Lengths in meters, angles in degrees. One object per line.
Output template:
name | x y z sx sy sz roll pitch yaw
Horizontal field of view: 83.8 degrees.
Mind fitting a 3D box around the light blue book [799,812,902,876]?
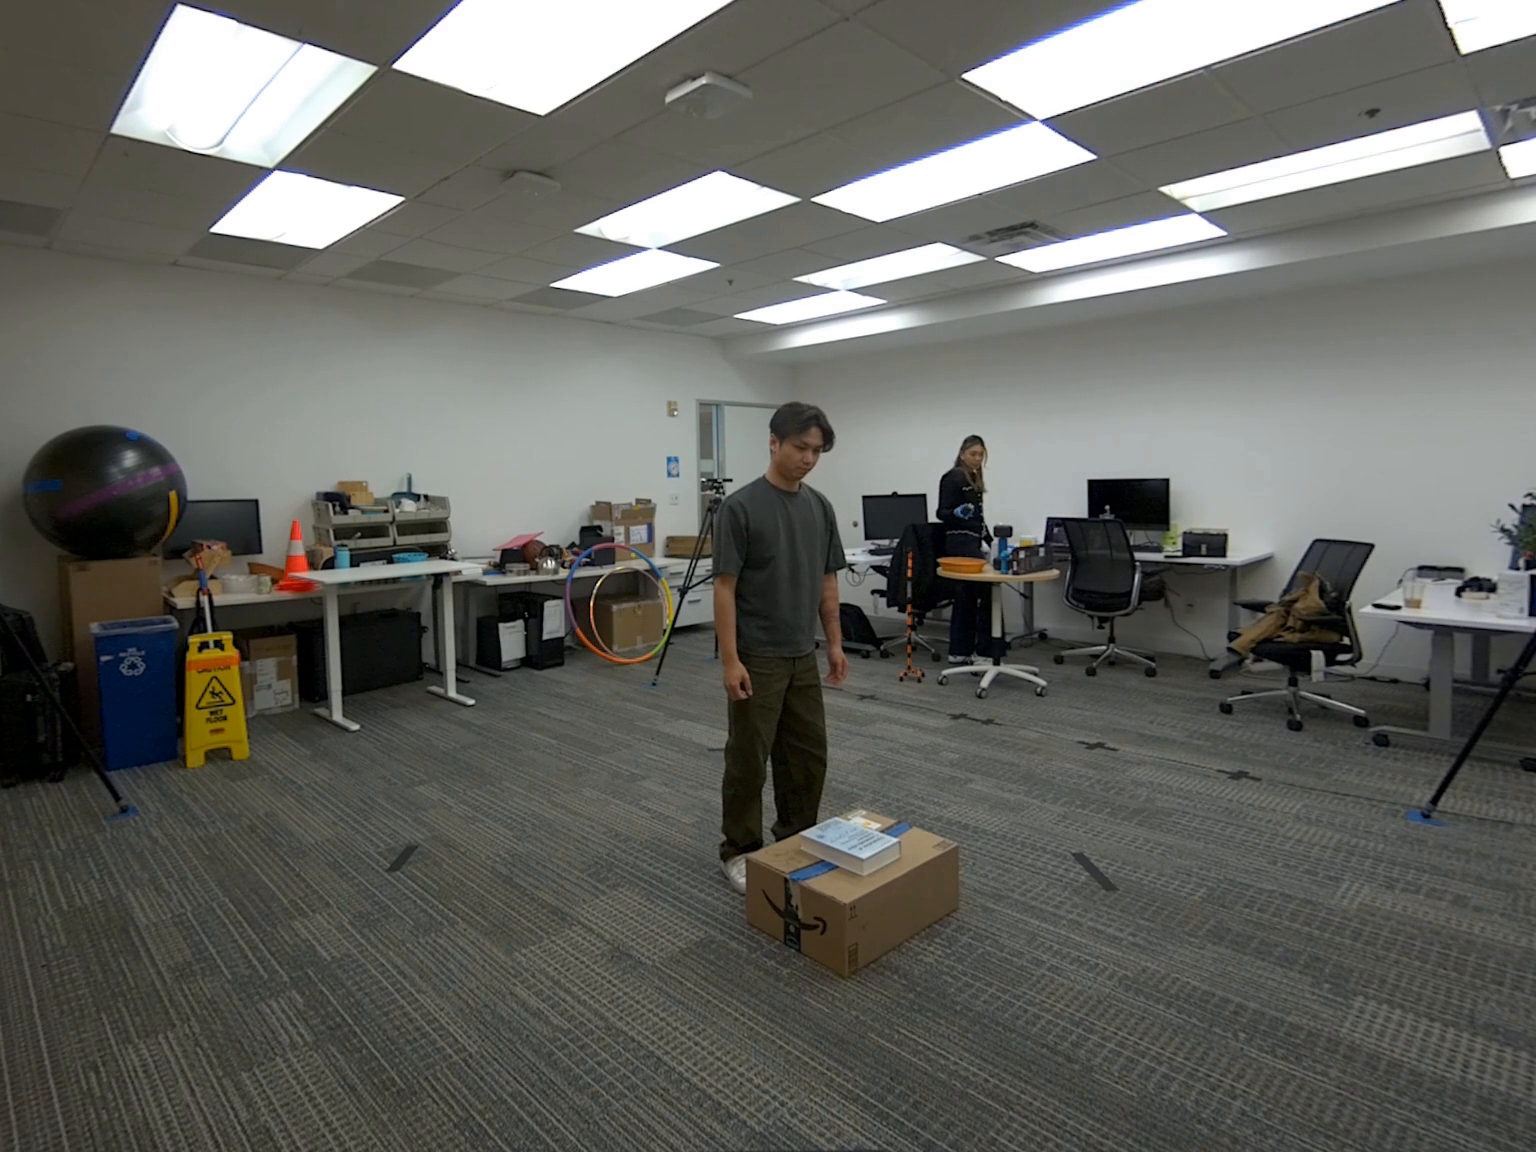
light blue book | 0.262 0.849 2.697 0.186 0.059 0.269 -8 9 -44
